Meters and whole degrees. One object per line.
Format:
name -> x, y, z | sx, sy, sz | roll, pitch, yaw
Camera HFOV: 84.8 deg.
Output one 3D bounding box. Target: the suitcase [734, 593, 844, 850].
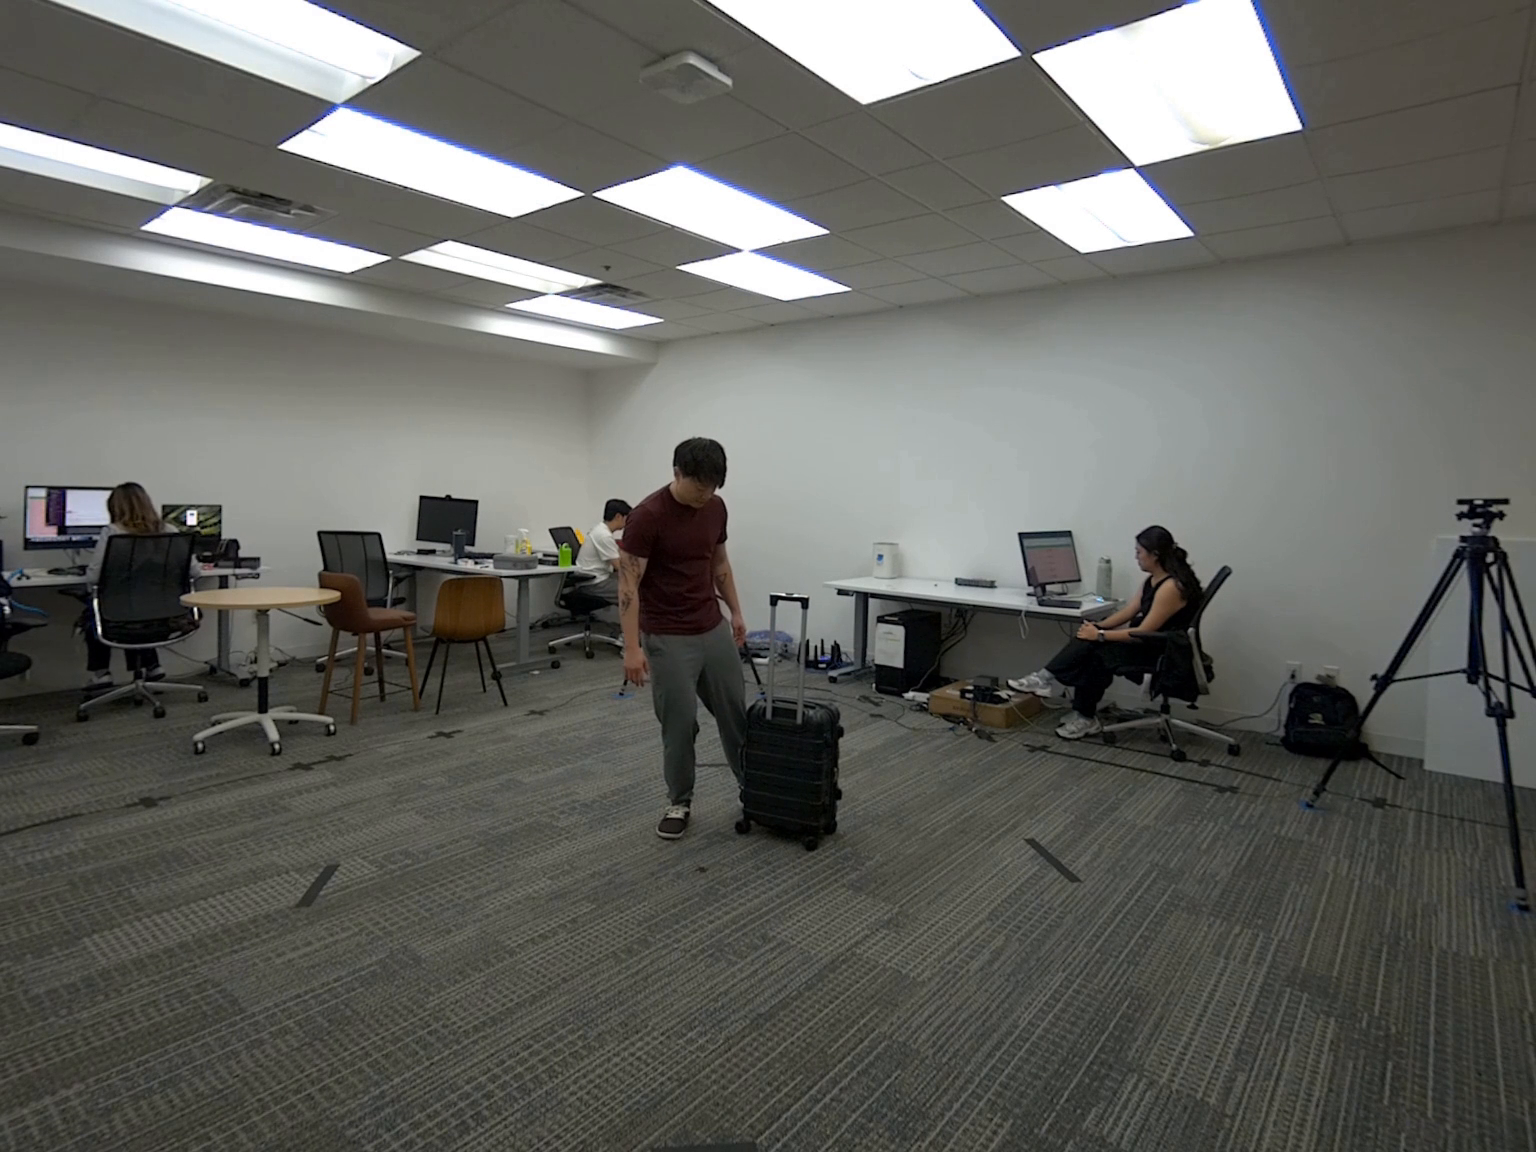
suitcase -> 0.091, 0.561, 3.450 | 0.394, 0.977, 0.251 | 3, 1, 24
